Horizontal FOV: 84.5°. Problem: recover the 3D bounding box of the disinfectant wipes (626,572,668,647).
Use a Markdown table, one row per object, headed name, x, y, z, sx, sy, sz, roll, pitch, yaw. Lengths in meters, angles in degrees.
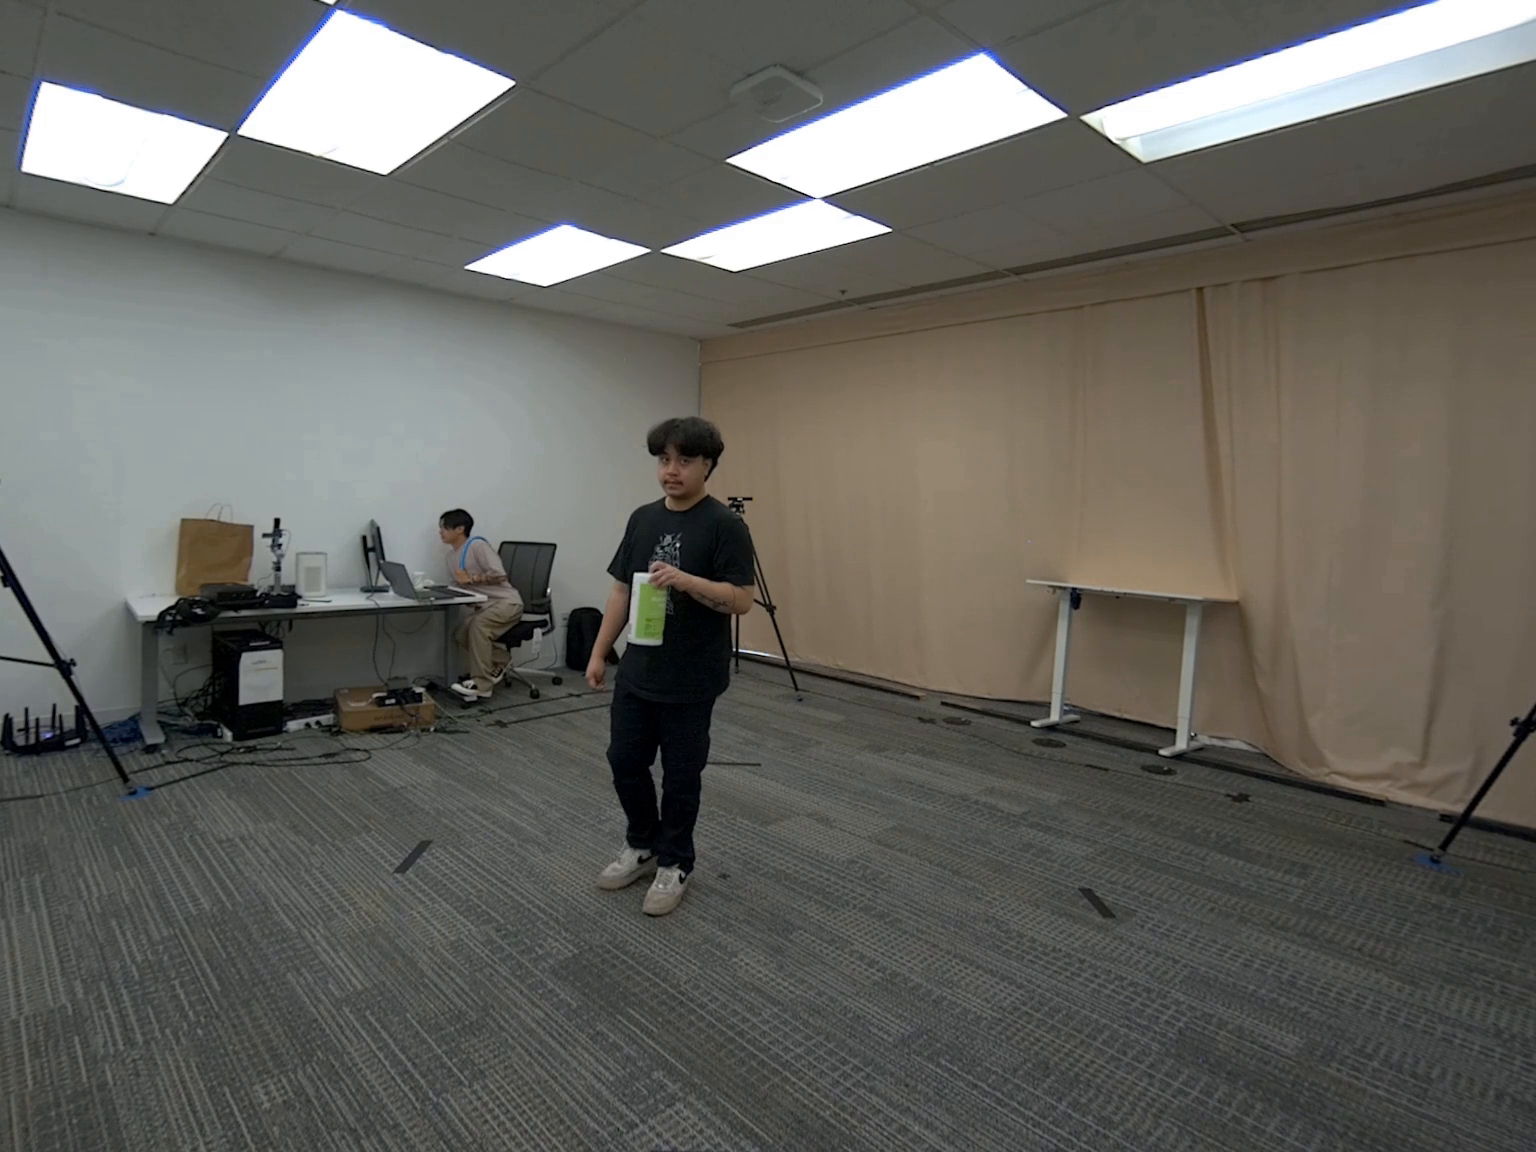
| name | x | y | z | sx | sy | sz | roll | pitch | yaw |
| --- | --- | --- | --- | --- | --- | --- | --- | --- | --- |
| disinfectant wipes | -0.384 | 0.109 | 2.585 | 0.118 | 0.217 | 0.118 | 5 | 1 | -2 |
